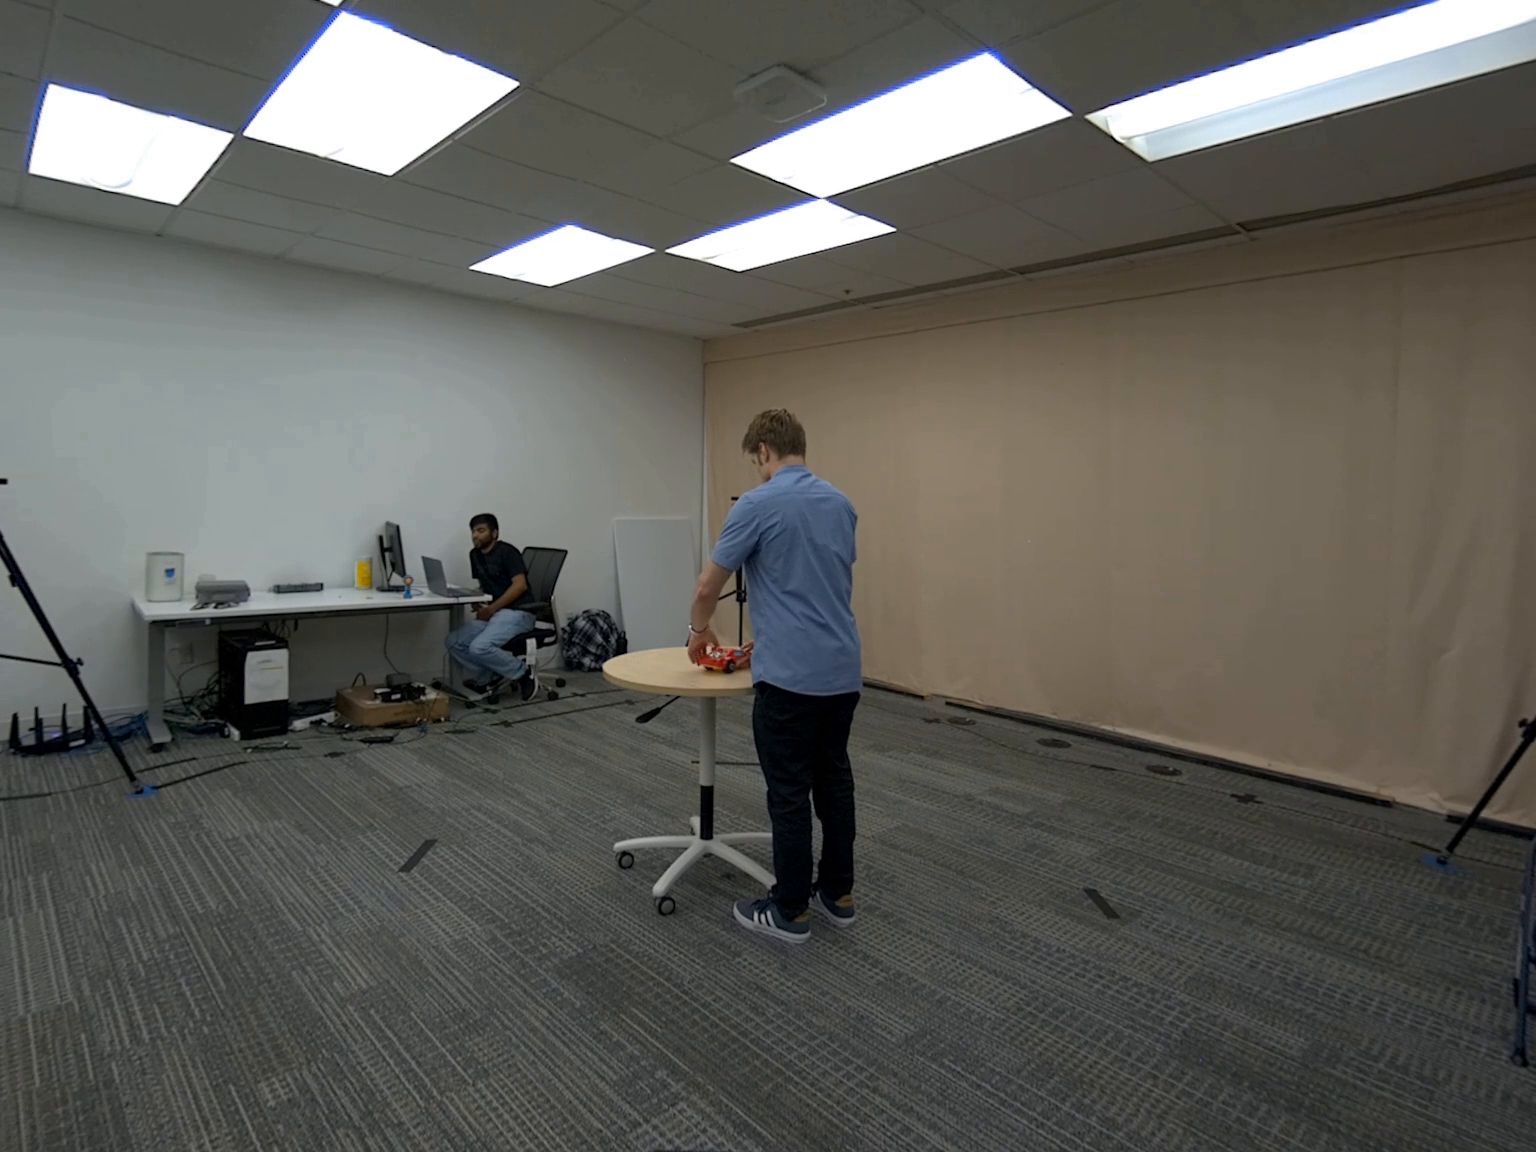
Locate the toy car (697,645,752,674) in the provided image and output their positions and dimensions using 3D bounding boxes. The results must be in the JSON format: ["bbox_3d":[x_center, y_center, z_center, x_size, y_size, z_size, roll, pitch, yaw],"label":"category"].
[{"bbox_3d":[-0.142,0.302,2.997,0.133,0.083,0.248,5,-2,39],"label":"toy car"}]
